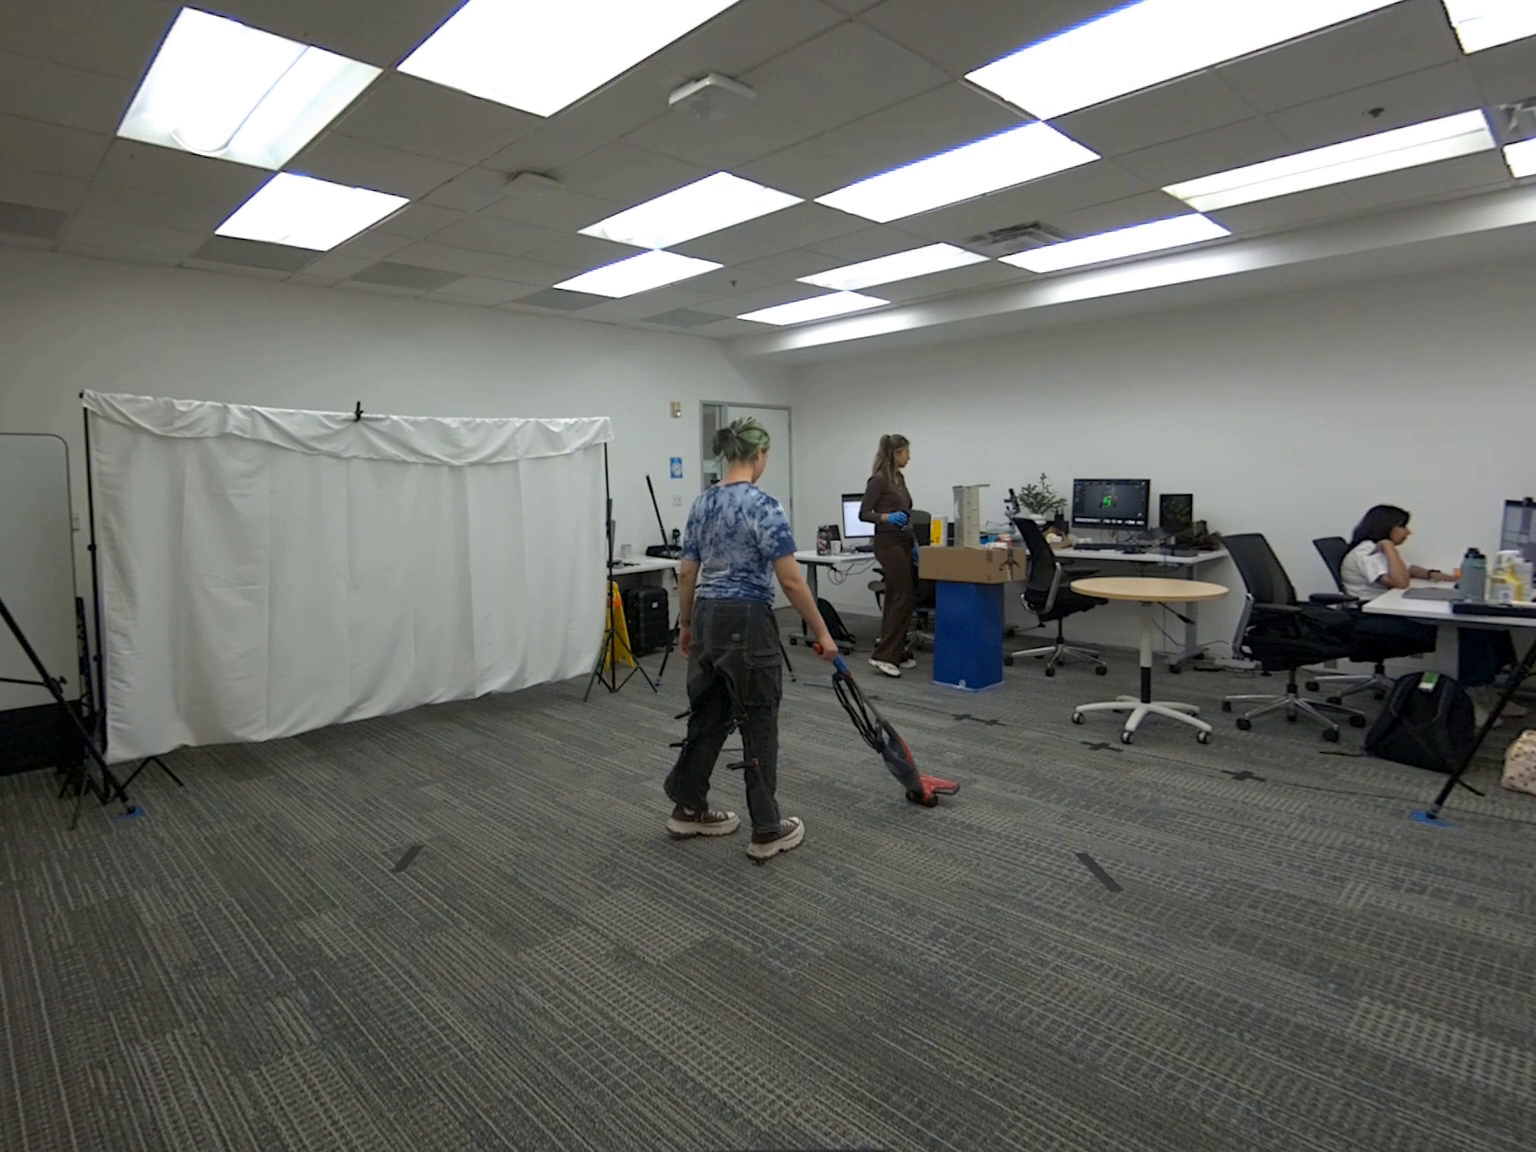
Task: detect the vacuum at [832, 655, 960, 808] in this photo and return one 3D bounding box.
[{"bbox_3d":[0.428,0.599,3.426,0.260,0.145,1.013,2,-41,46],"label":"vacuum"}]
